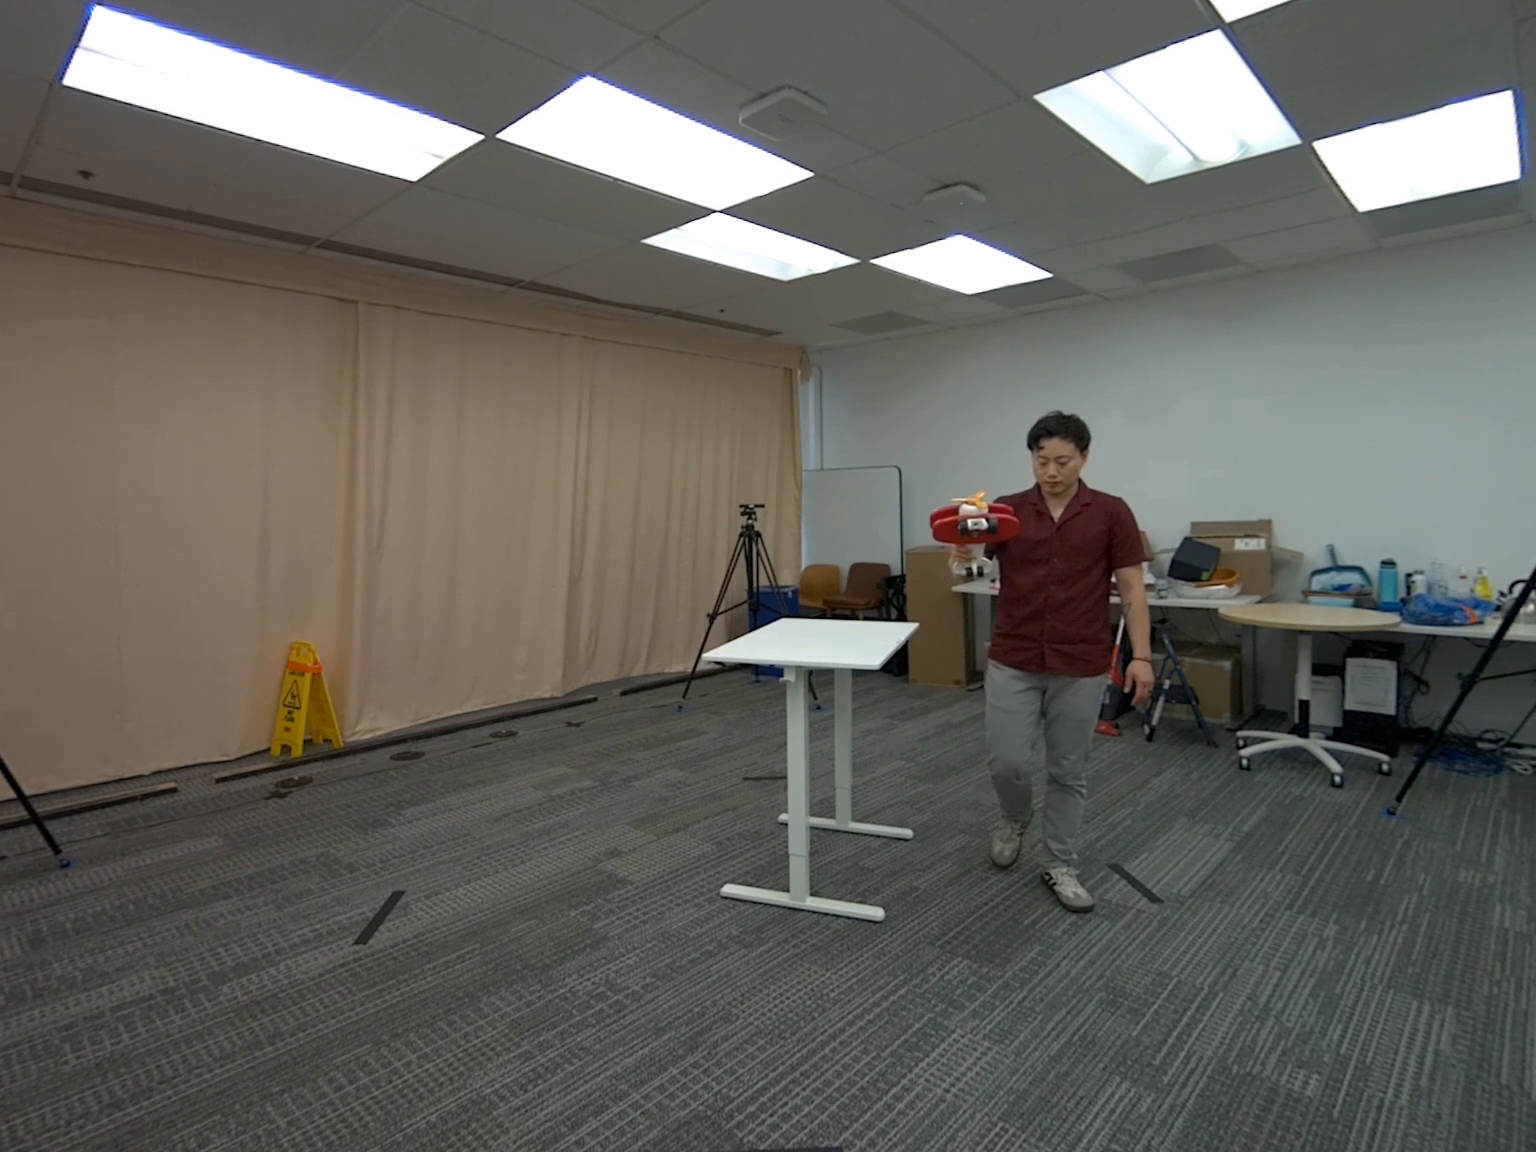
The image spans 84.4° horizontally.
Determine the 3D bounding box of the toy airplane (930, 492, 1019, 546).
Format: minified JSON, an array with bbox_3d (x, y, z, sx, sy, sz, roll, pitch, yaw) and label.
[{"bbox_3d":[0.628,-0.123,2.622,0.248,0.258,0.159,18,40,-11],"label":"toy airplane"}]
